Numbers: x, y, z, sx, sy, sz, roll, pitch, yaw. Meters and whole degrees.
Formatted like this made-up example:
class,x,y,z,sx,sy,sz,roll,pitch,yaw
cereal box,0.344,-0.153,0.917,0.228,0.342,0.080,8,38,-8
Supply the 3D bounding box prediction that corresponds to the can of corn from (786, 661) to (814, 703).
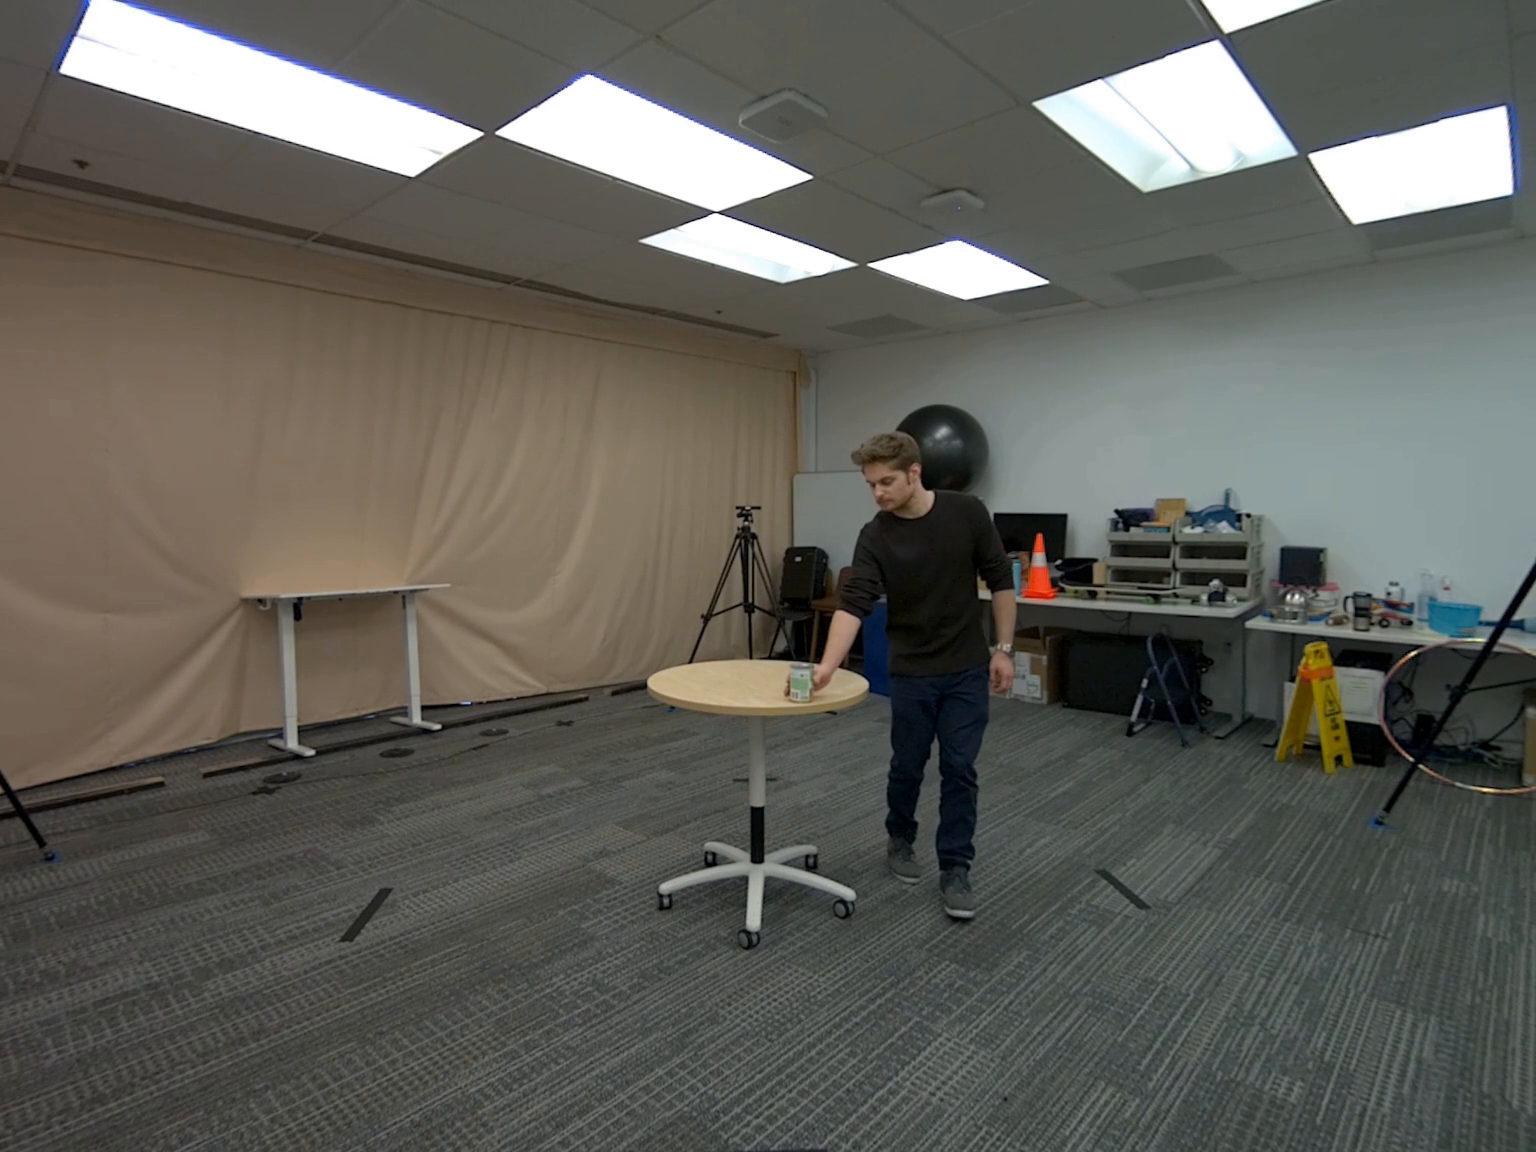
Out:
class,x,y,z,sx,sy,sz,roll,pitch,yaw
can of corn,0.107,0.333,2.628,0.074,0.111,0.074,2,4,-2
